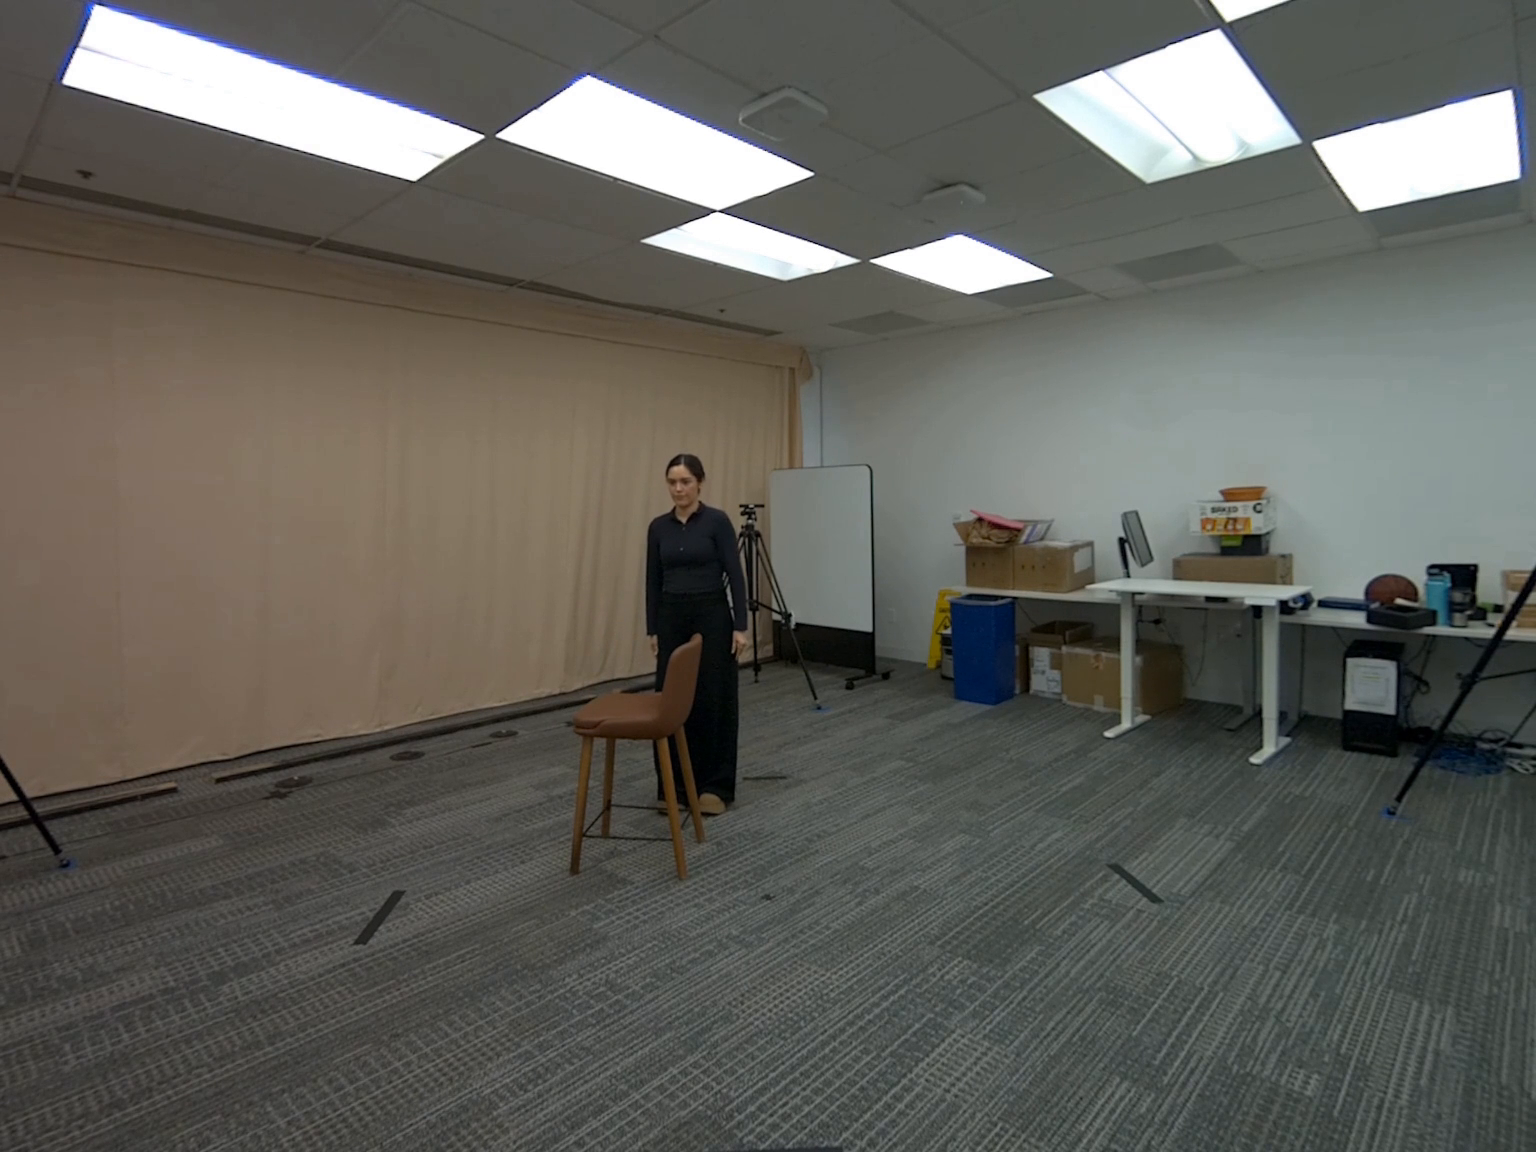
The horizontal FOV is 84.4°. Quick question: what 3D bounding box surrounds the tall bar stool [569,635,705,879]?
[{"bbox_3d":[-0.512,0.685,3.340,0.473,0.888,0.452,0,3,10],"label":"tall bar stool"}]
